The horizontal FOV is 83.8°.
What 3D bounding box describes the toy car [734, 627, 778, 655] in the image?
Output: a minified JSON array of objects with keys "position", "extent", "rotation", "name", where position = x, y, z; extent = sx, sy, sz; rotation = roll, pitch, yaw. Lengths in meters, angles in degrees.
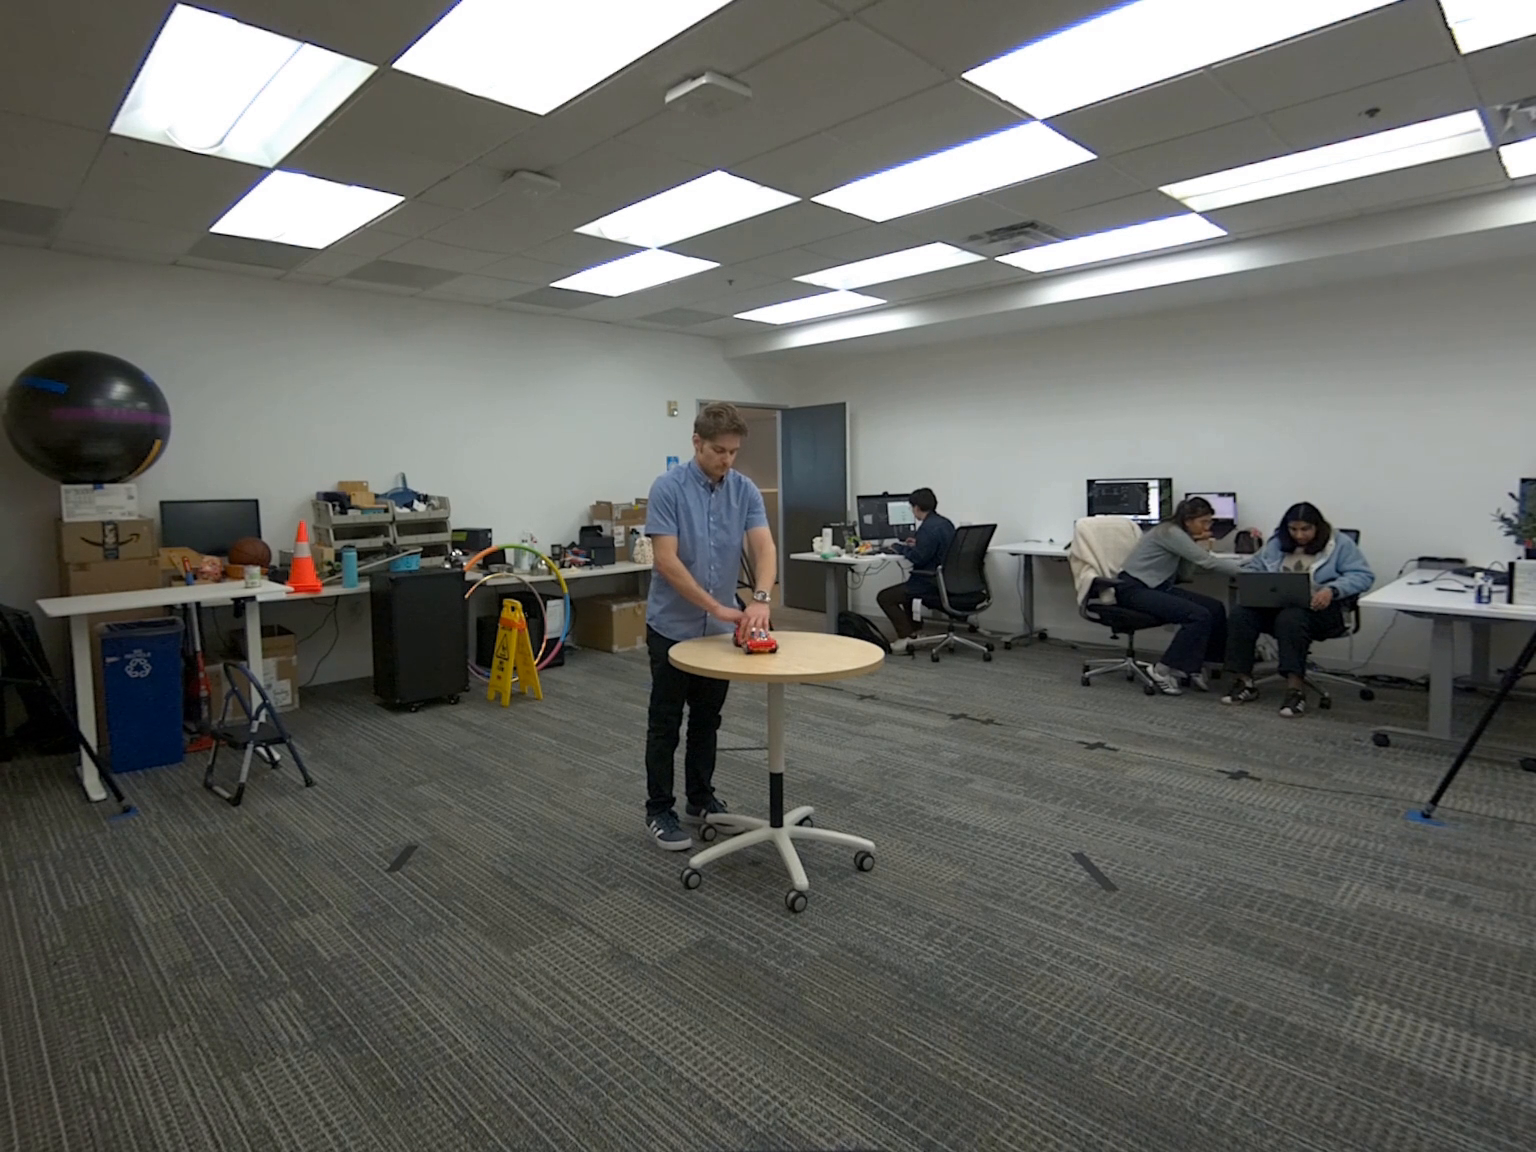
[{"position":[-0.044,0.233,3.081],"extent":[0.128,0.082,0.261],"rotation":[-1,16,-16],"name":"toy car"}]
